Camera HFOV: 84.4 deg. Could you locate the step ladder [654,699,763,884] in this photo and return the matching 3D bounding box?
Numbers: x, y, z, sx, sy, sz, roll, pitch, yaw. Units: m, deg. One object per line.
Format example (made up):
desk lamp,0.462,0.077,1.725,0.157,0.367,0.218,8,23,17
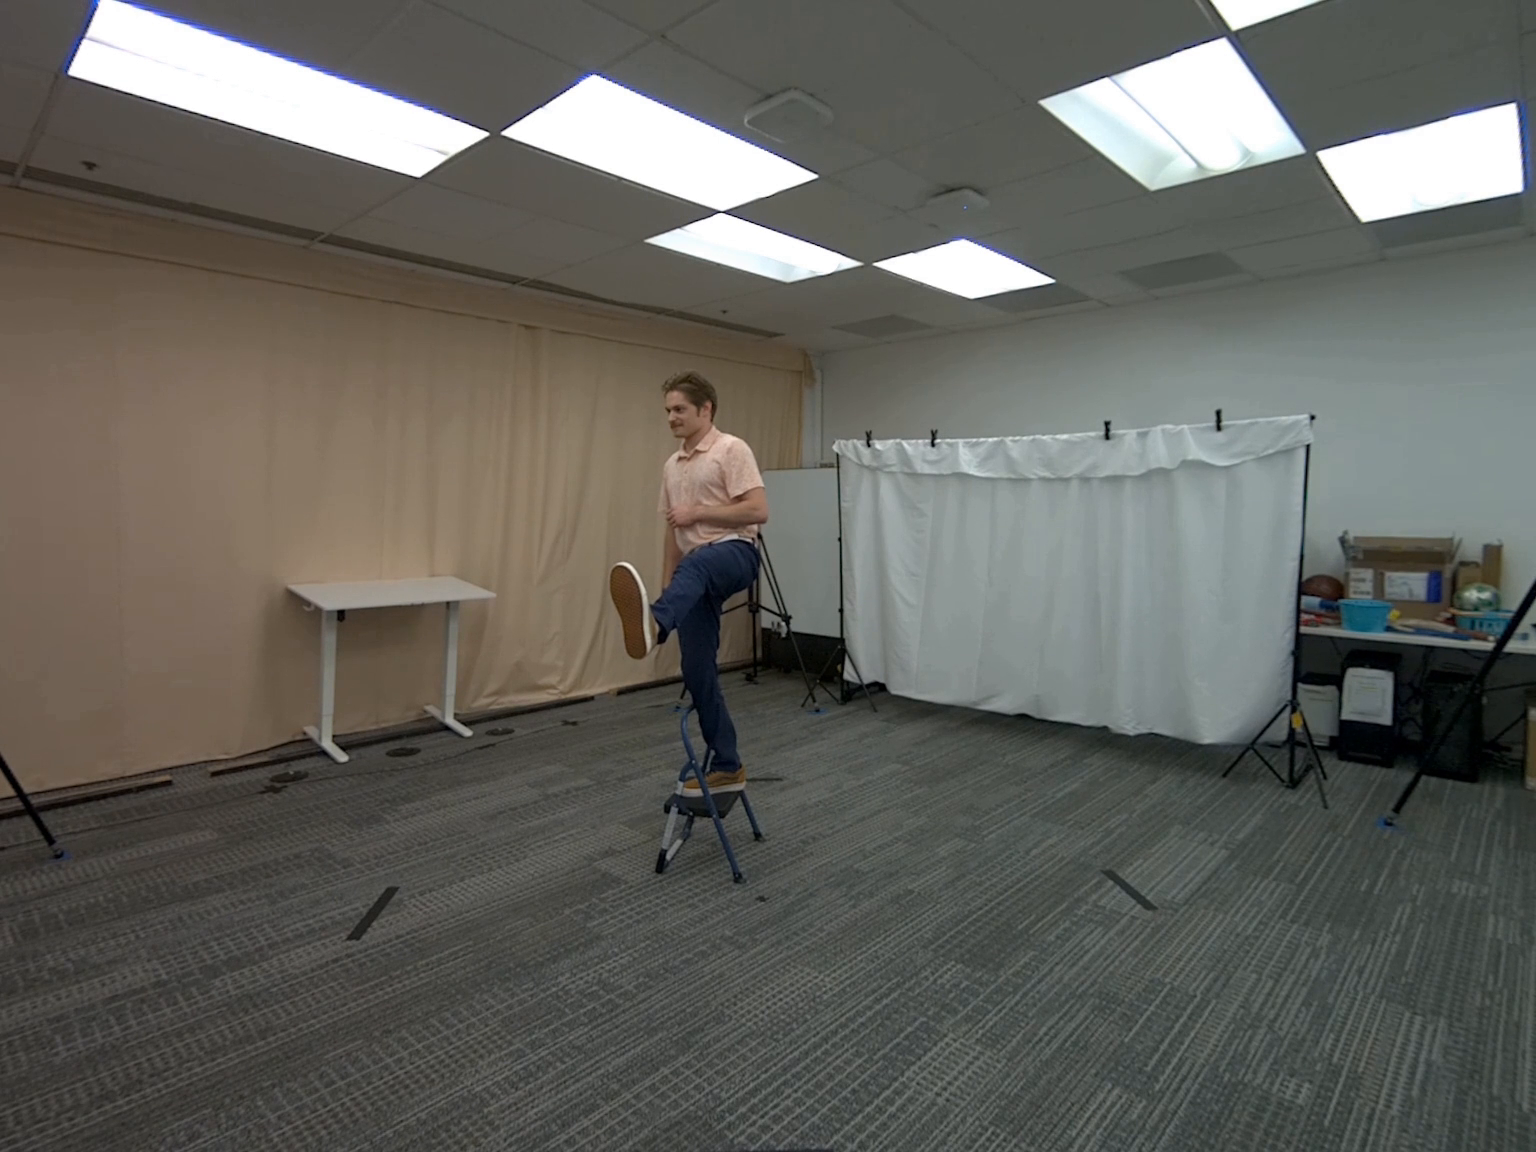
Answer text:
step ladder,-0.225,0.816,3.338,0.354,0.605,0.426,0,3,11
